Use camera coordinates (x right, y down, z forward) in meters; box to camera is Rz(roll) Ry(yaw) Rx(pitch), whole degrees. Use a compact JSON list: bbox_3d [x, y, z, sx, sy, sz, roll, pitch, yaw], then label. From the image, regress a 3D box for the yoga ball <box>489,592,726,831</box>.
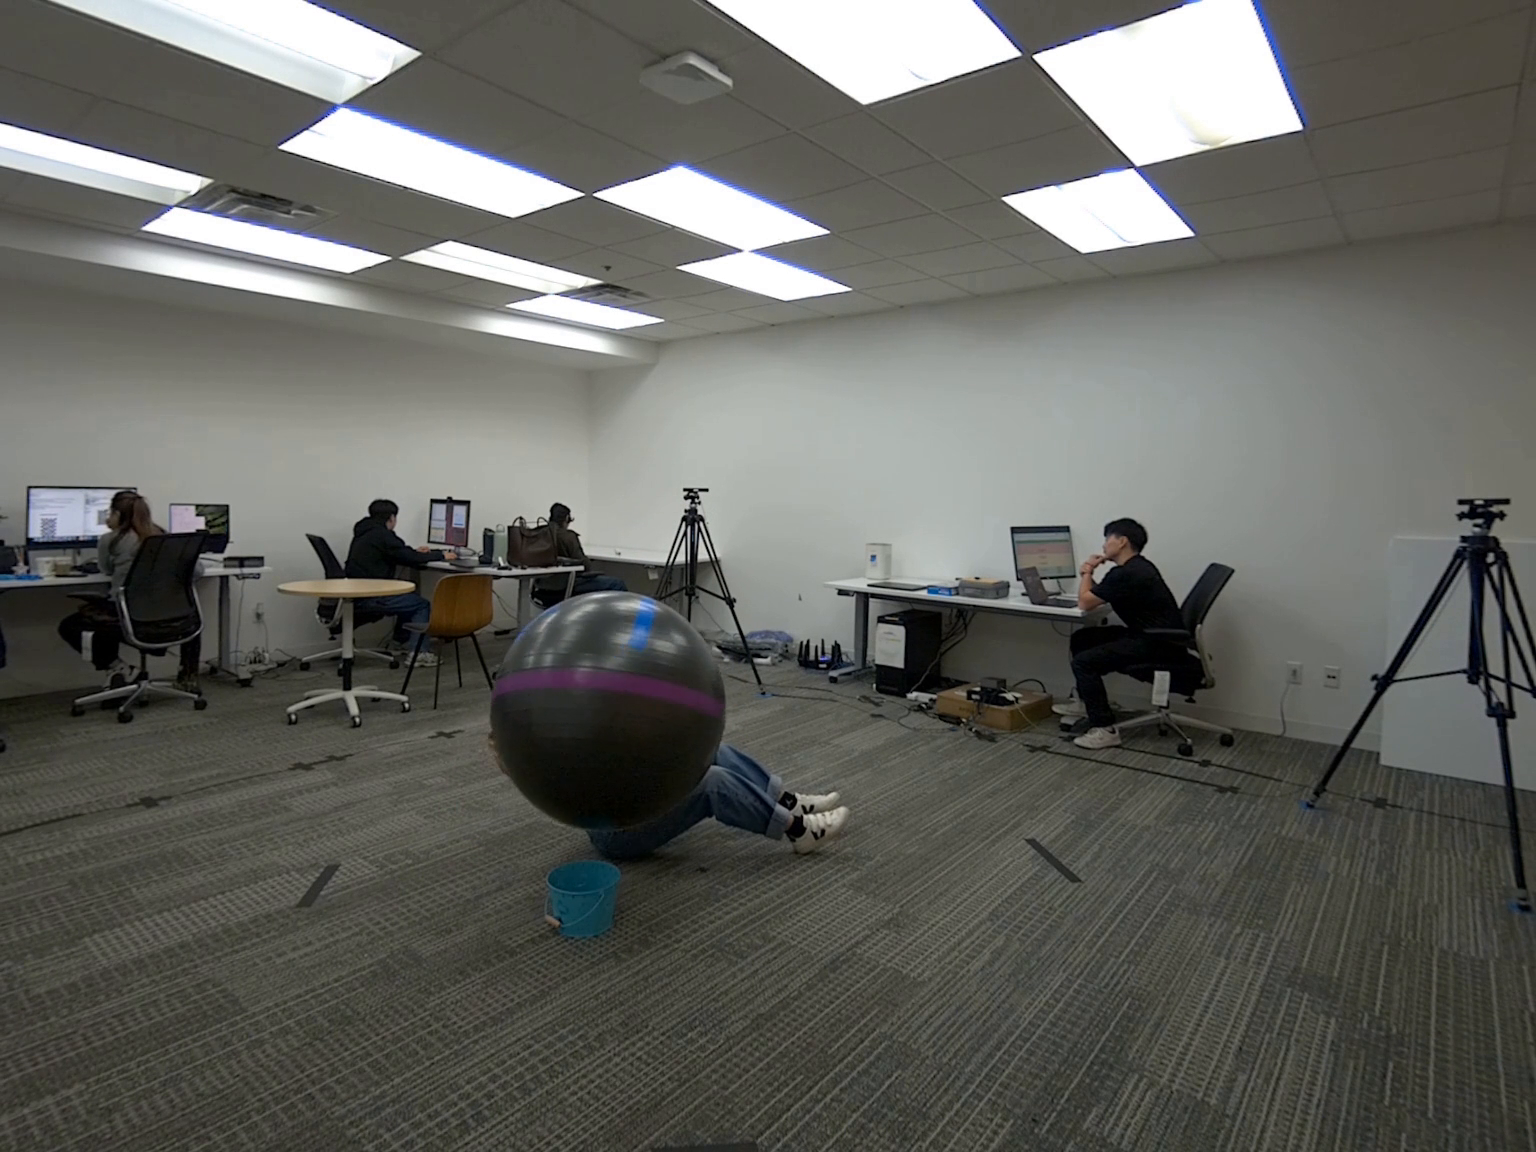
[{"bbox_3d":[-0.525,0.436,2.787,0.757,0.756,0.761,1,4,-2],"label":"yoga ball"}]
